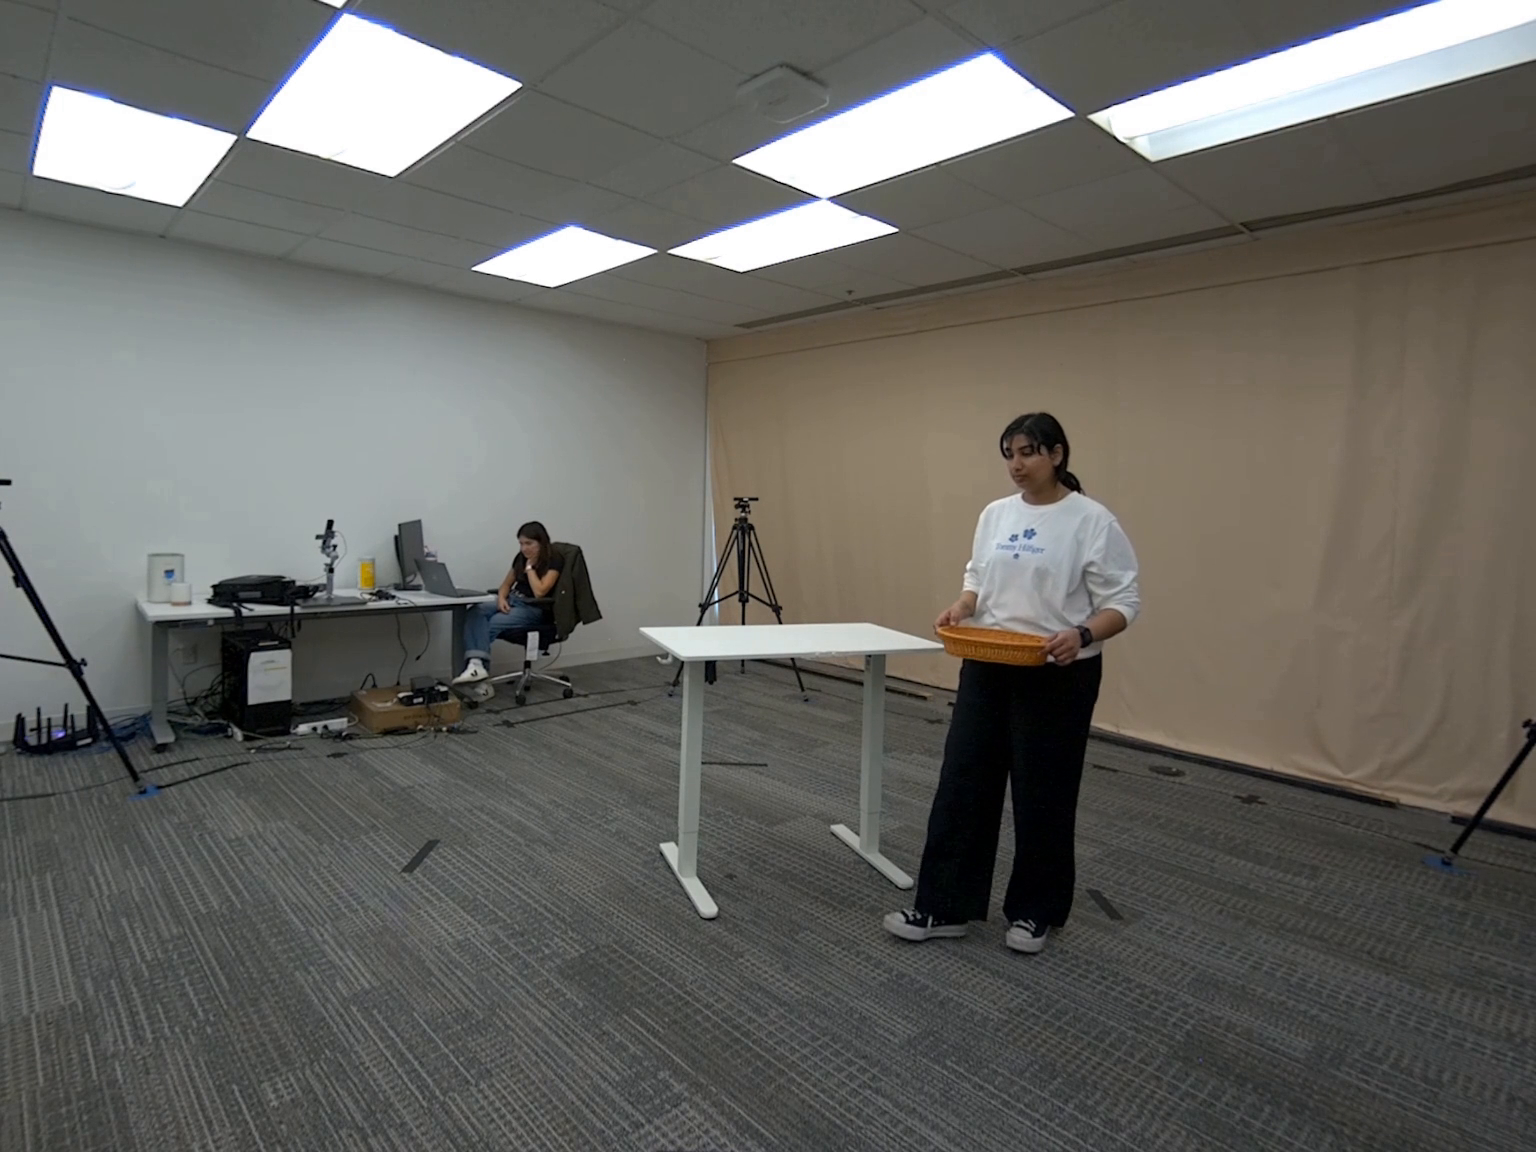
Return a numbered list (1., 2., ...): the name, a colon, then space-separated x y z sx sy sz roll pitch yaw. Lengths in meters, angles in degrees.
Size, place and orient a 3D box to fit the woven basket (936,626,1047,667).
1. woven basket: 0.720 0.212 2.497 0.359 0.073 0.247 4 7 36
